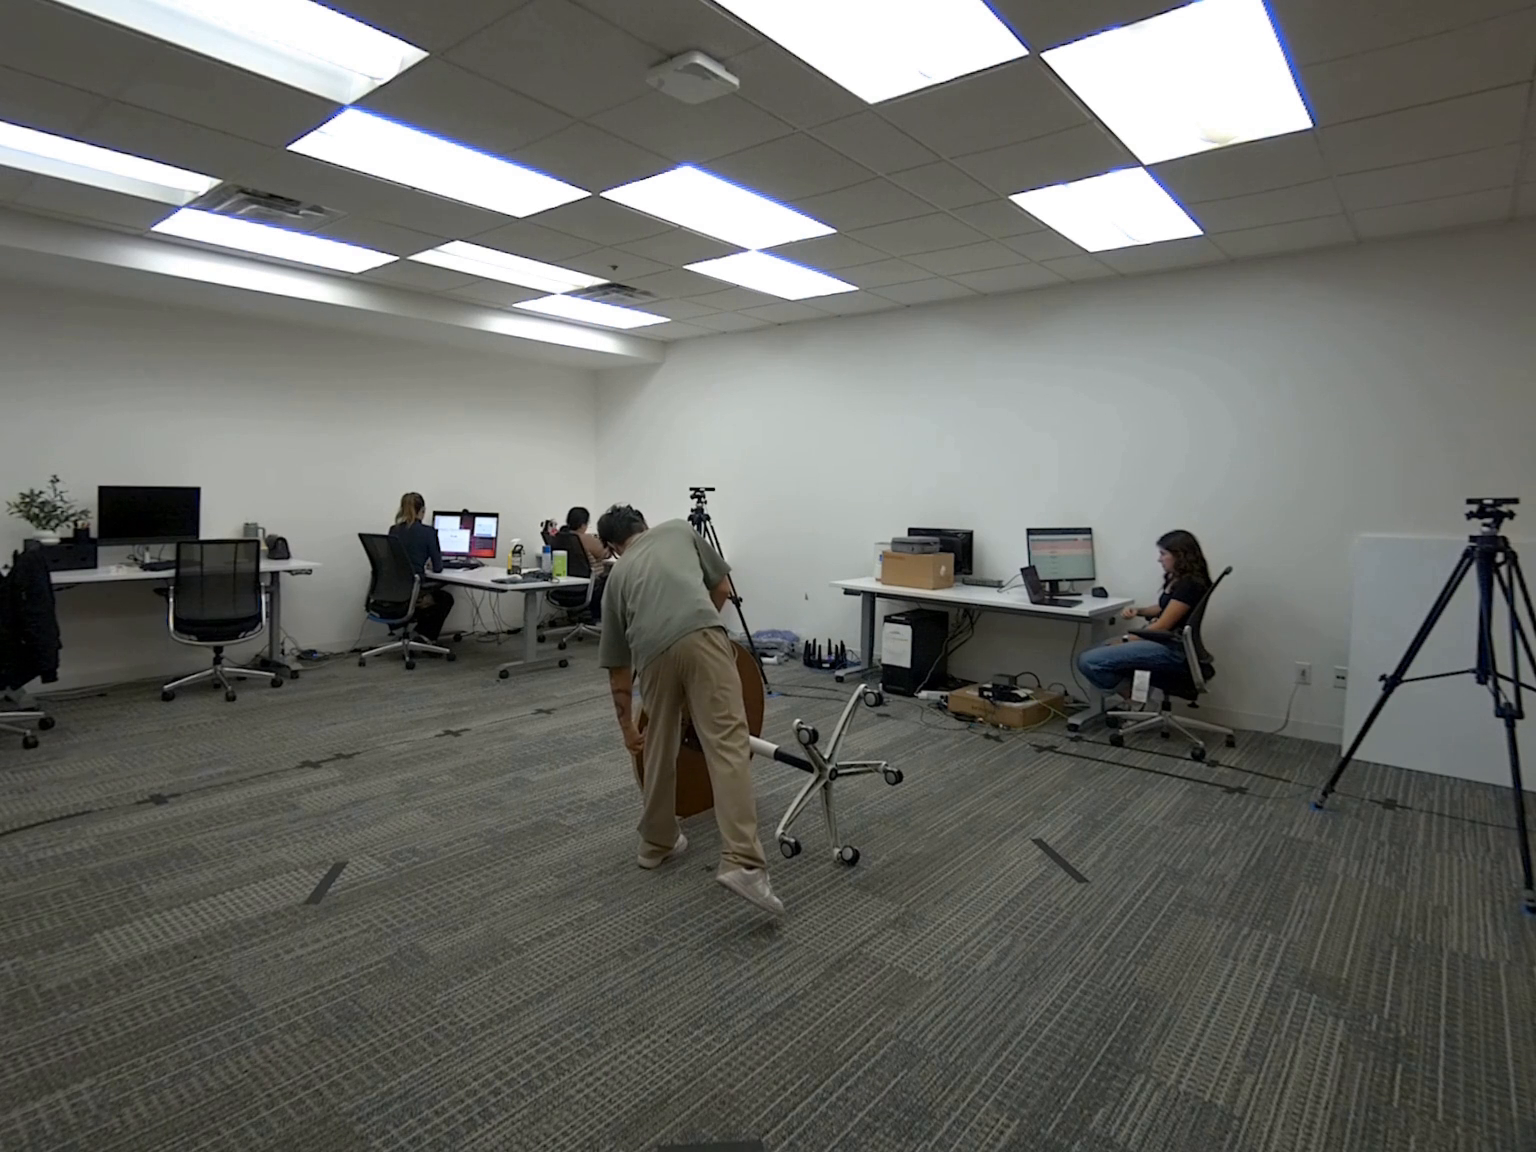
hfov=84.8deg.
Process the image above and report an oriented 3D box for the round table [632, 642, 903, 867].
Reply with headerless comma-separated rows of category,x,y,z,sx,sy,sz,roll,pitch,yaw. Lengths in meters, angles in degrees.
round table,0.005,0.689,3.348,0.815,0.780,0.761,11,10,42
